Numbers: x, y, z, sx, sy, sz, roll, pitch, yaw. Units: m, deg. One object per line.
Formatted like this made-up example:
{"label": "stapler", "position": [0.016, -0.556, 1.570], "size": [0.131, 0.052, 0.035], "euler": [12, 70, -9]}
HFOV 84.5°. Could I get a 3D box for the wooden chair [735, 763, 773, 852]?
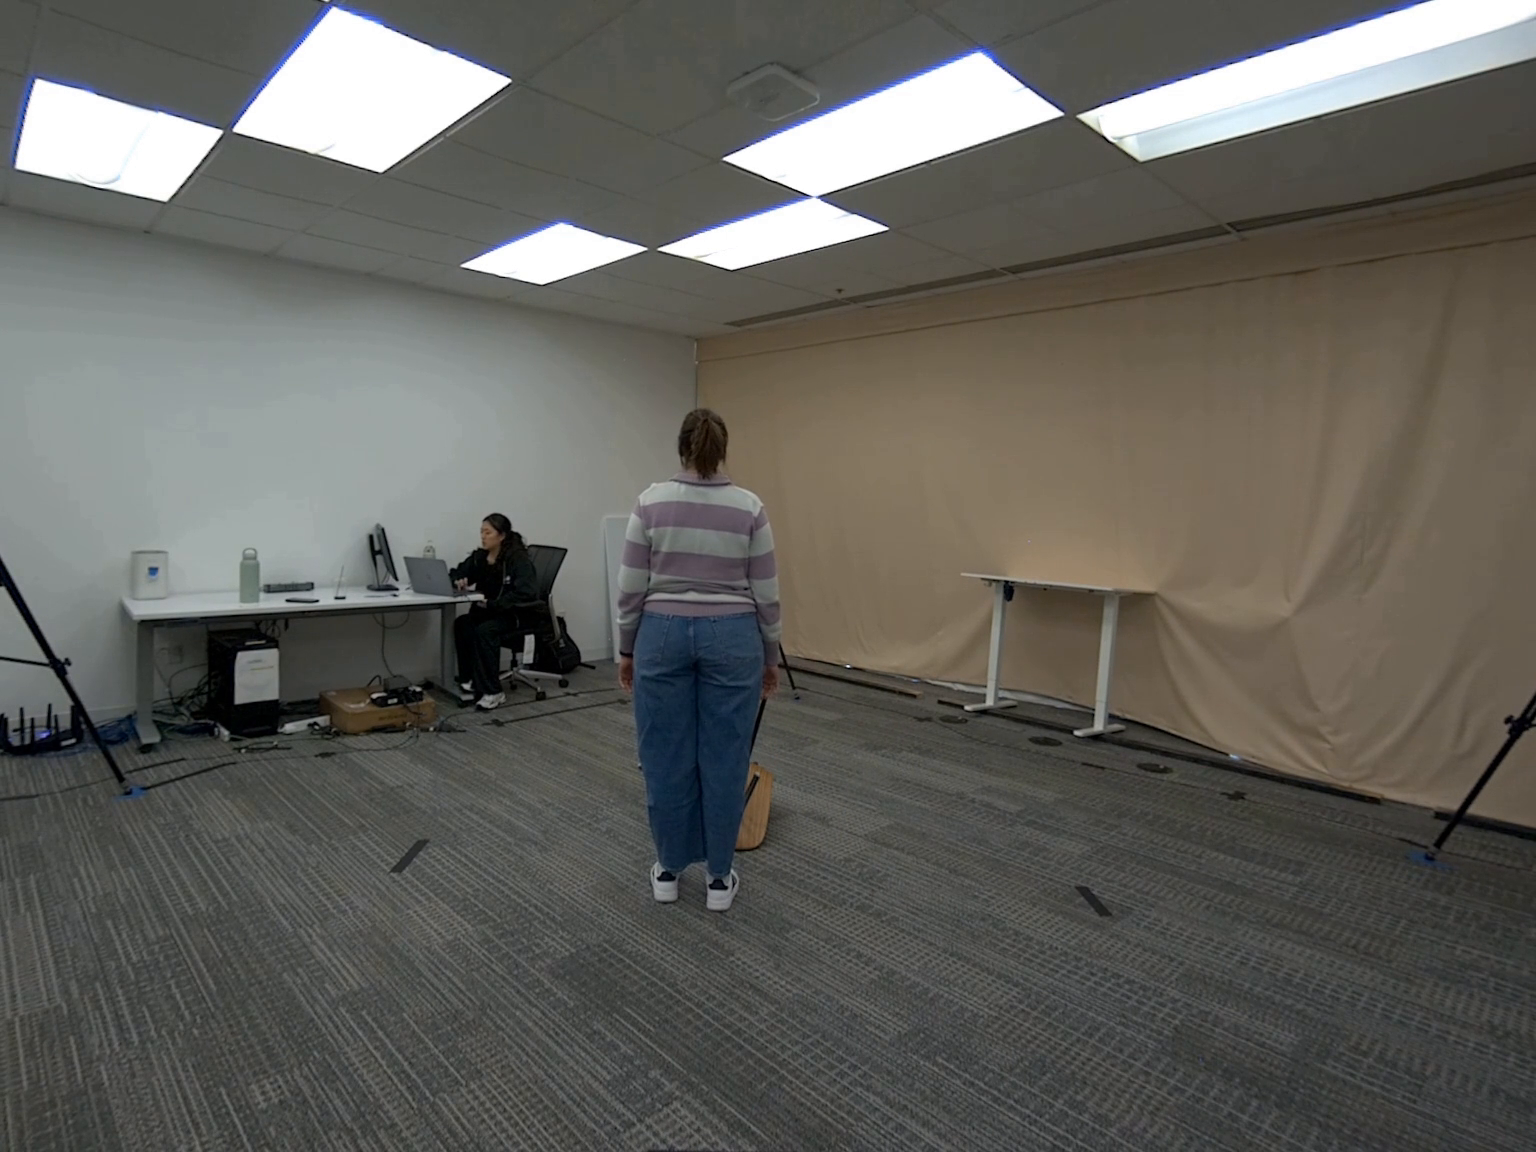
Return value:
{"label": "wooden chair", "position": [-0.232, 0.898, 3.511], "size": [0.481, 0.857, 0.532], "euler": [3, 44, 6]}
